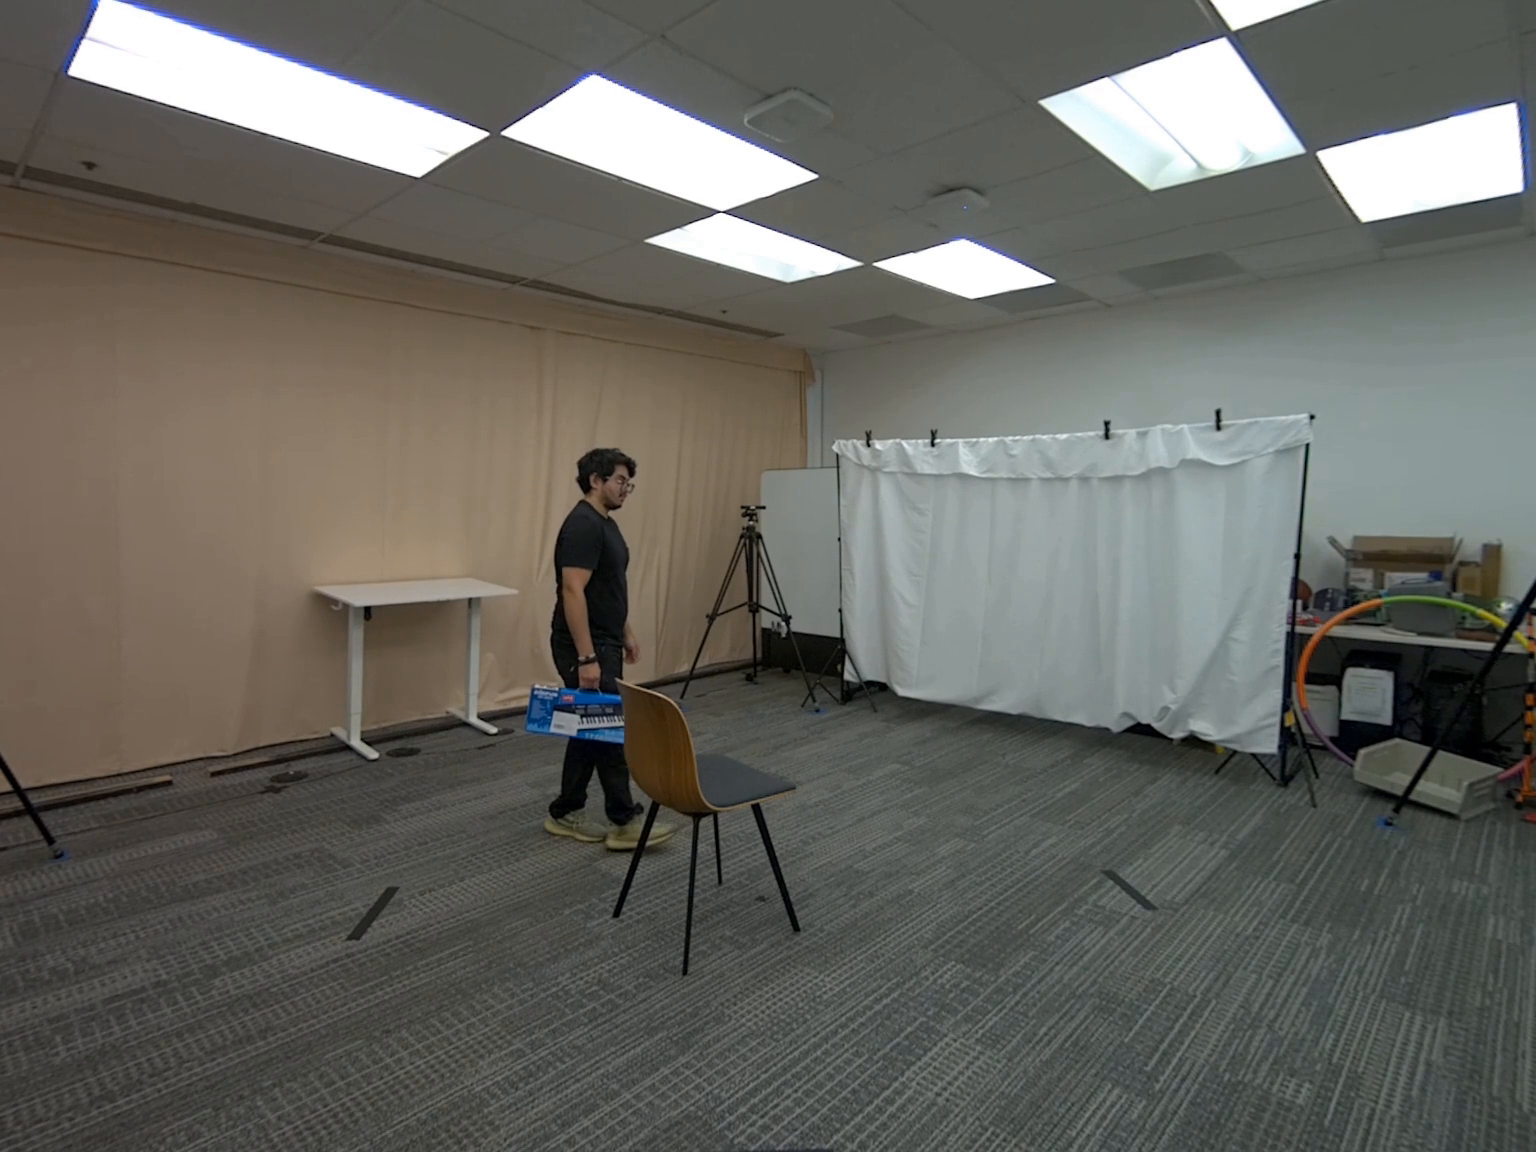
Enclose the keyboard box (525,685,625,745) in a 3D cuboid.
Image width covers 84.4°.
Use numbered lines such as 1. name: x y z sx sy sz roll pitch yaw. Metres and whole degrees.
1. keyboard box: -0.706 0.533 3.252 0.433 0.175 0.060 8 3 -7
